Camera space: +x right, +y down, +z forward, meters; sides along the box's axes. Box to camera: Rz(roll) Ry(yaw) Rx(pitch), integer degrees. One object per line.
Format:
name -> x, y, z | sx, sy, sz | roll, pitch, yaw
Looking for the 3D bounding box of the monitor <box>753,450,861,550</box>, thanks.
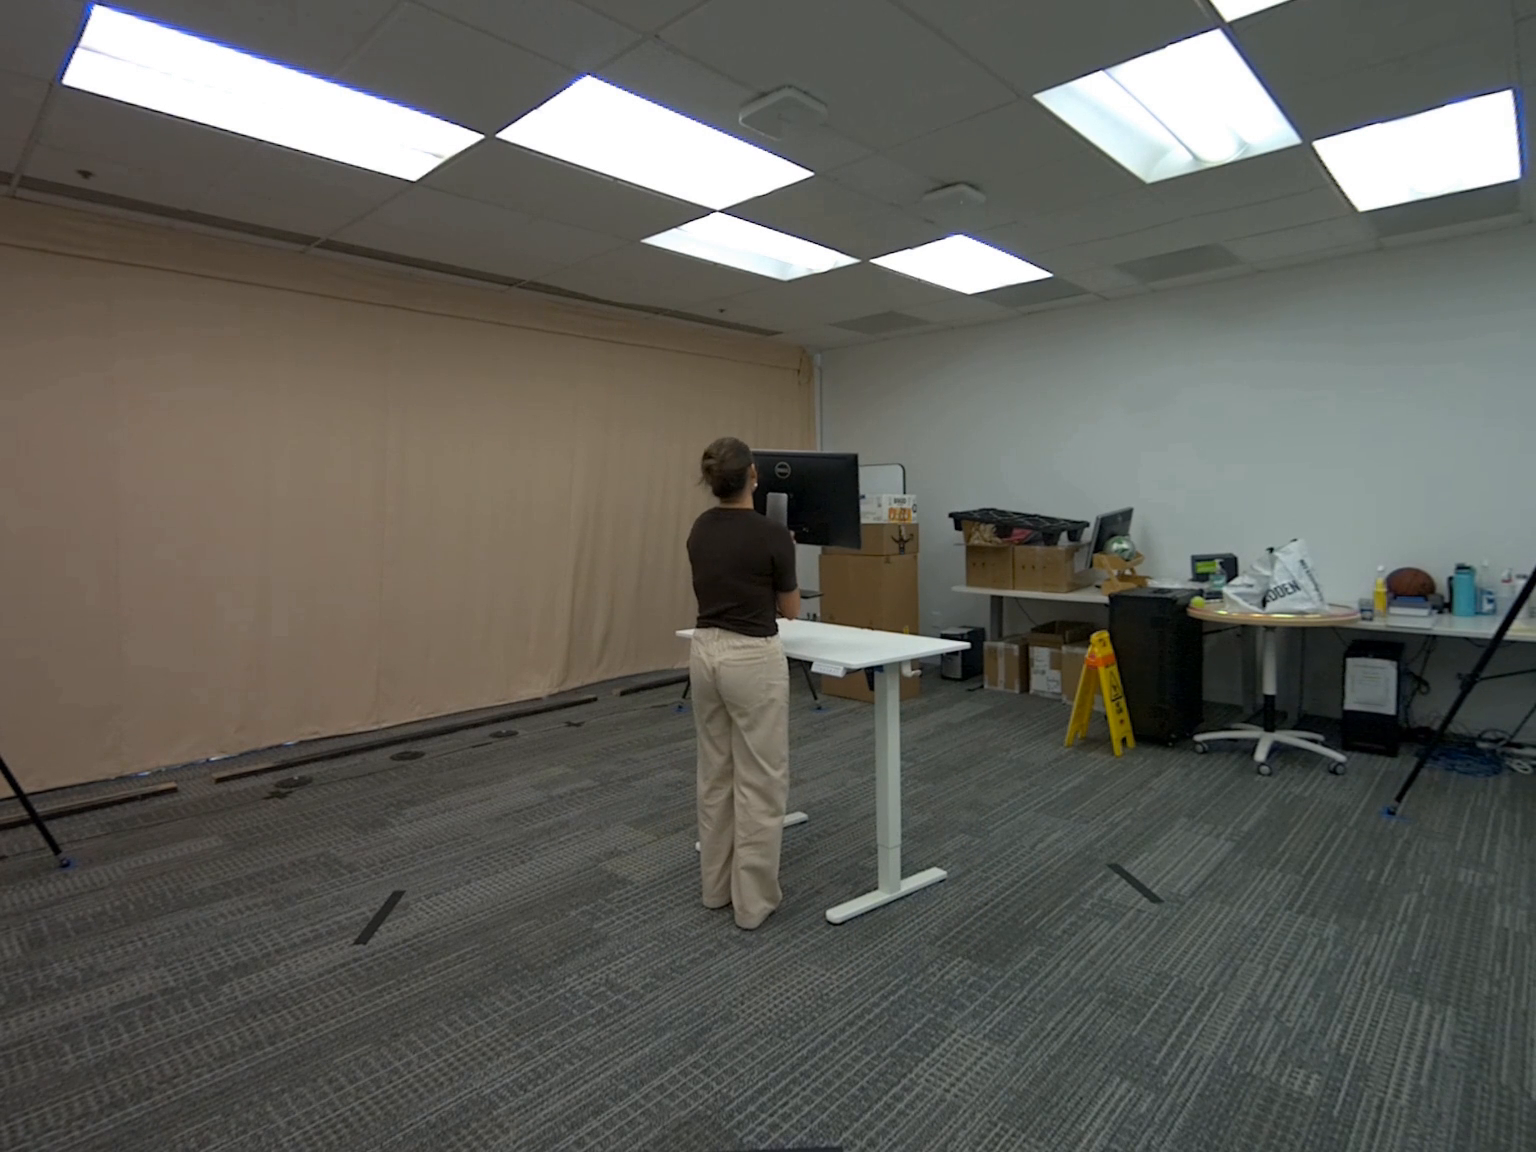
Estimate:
monitor -> 0.062, -0.189, 3.032 | 0.553, 0.520, 0.183 | 5, 9, 24
